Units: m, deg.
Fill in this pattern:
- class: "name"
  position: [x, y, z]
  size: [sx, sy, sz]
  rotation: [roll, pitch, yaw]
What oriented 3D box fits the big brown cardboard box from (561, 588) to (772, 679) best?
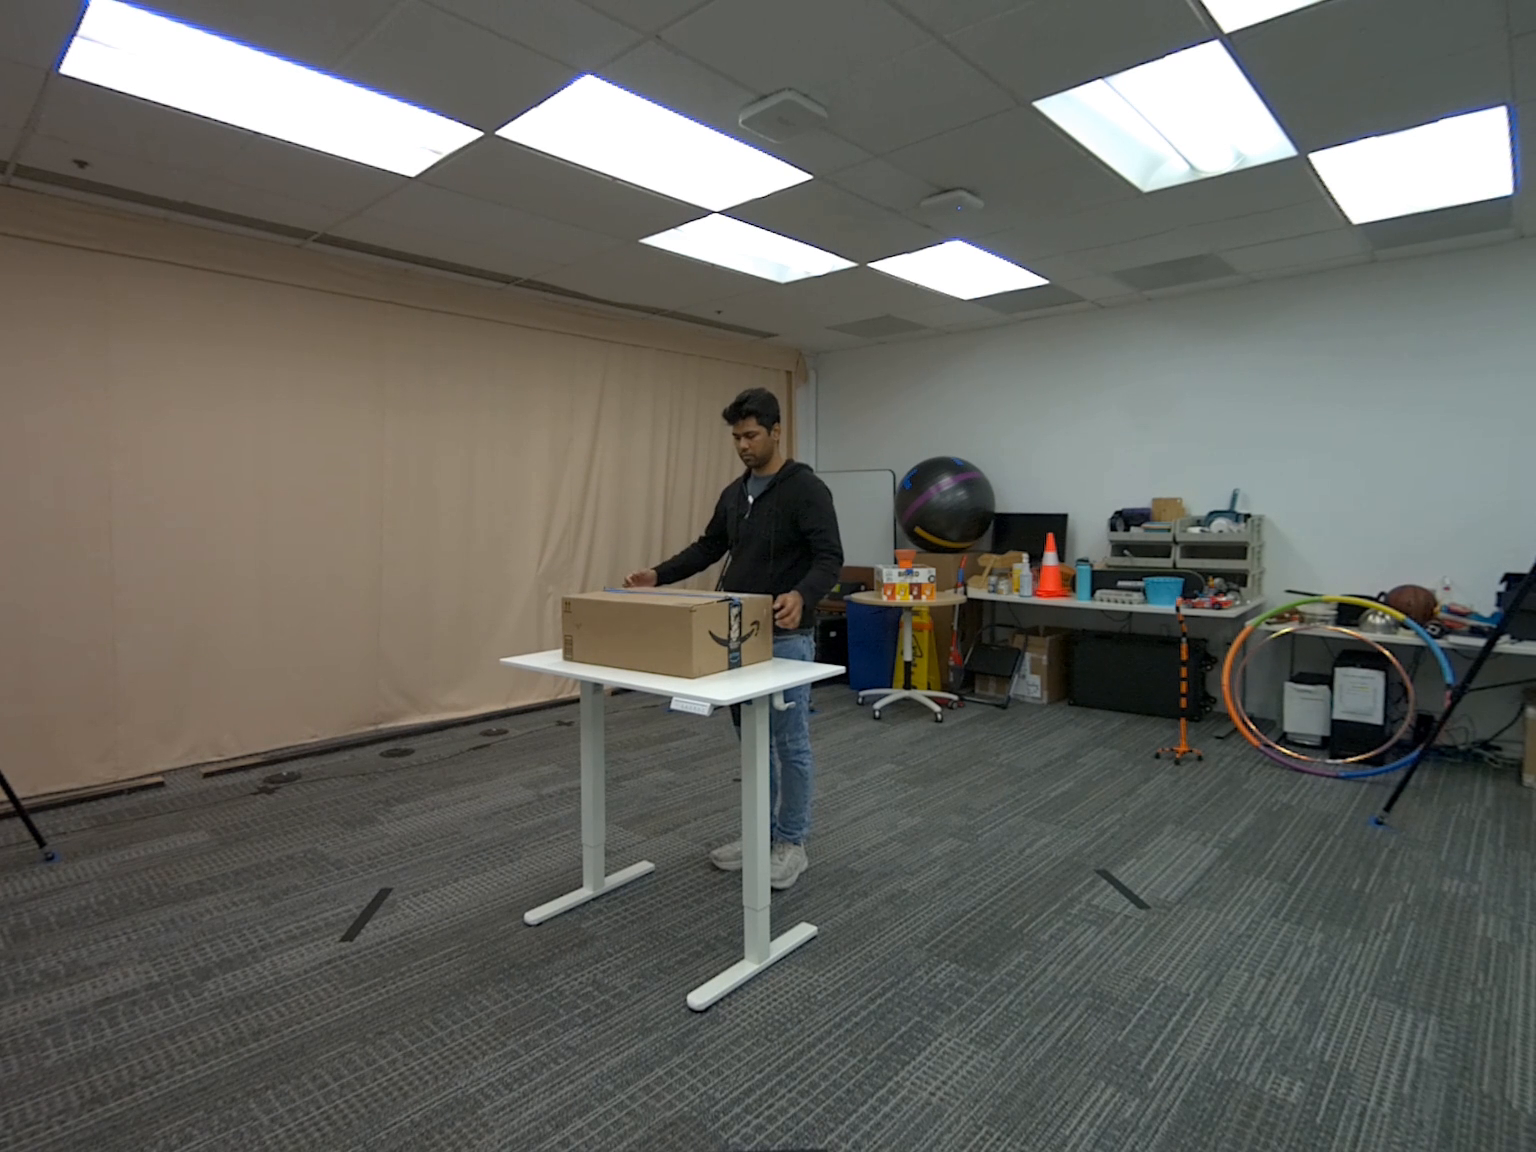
- class: "big brown cardboard box"
  position: [-0.335, 0.171, 2.791]
  size: [0.607, 0.233, 0.405]
  rotation: [2, 4, 36]
